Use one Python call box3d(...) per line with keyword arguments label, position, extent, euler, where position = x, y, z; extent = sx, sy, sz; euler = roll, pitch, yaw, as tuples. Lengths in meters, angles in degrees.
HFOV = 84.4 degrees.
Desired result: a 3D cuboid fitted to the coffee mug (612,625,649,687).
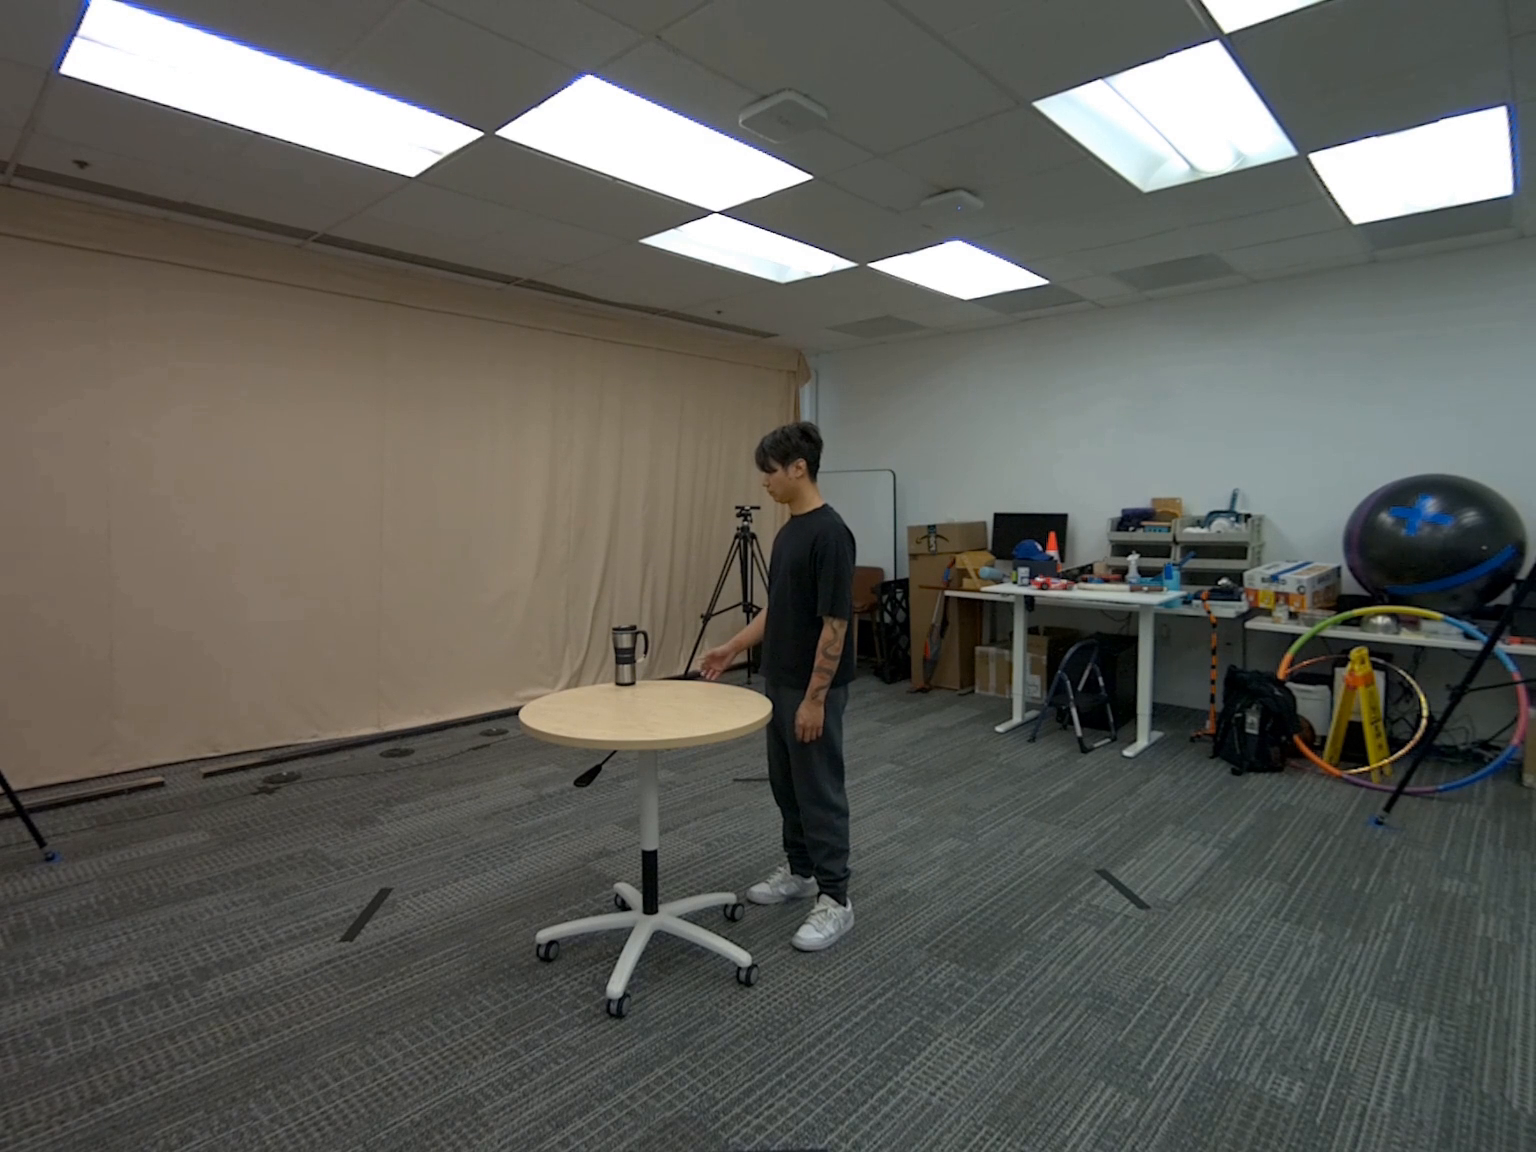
box3d(label="coffee mug", position=(-0.476, 0.276, 2.884), extent=(0.126, 0.203, 0.085), euler=(-1, -2, 39))
